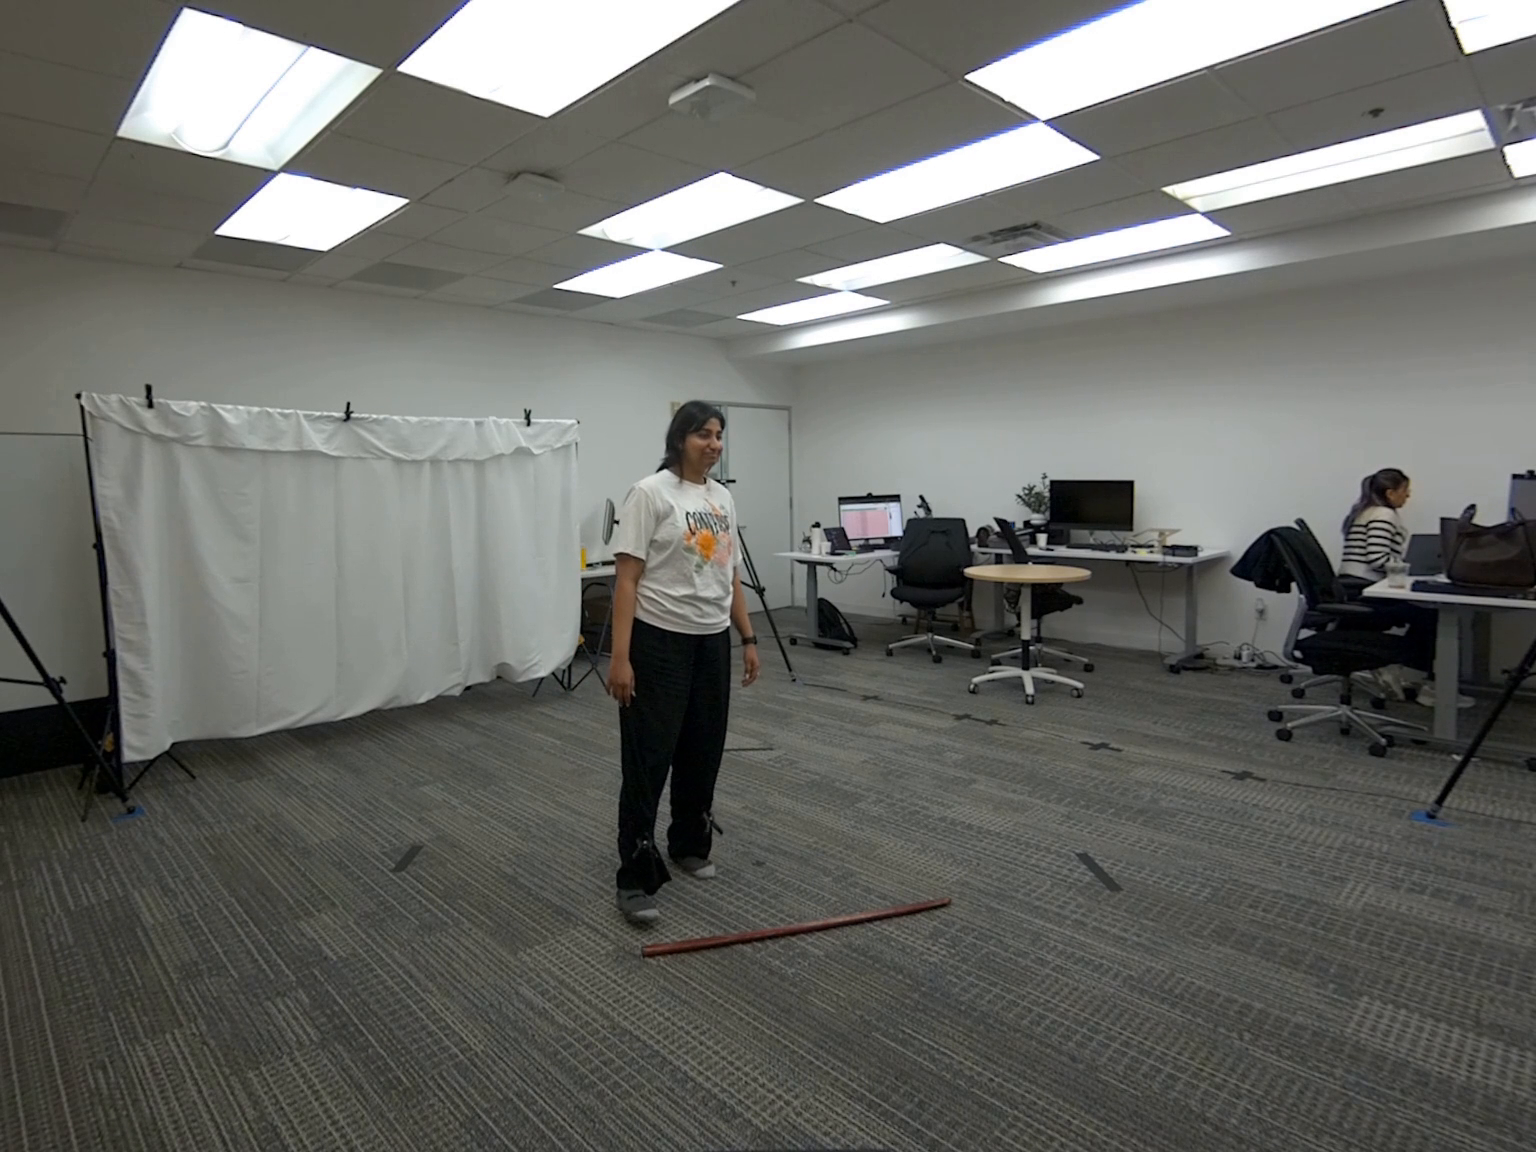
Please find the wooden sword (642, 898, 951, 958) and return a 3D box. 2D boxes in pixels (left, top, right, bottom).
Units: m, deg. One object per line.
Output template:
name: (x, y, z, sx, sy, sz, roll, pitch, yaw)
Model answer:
wooden sword: (0.116, 1.068, 2.664, 1.011, 0.024, 0.052, -3, -1, -15)
